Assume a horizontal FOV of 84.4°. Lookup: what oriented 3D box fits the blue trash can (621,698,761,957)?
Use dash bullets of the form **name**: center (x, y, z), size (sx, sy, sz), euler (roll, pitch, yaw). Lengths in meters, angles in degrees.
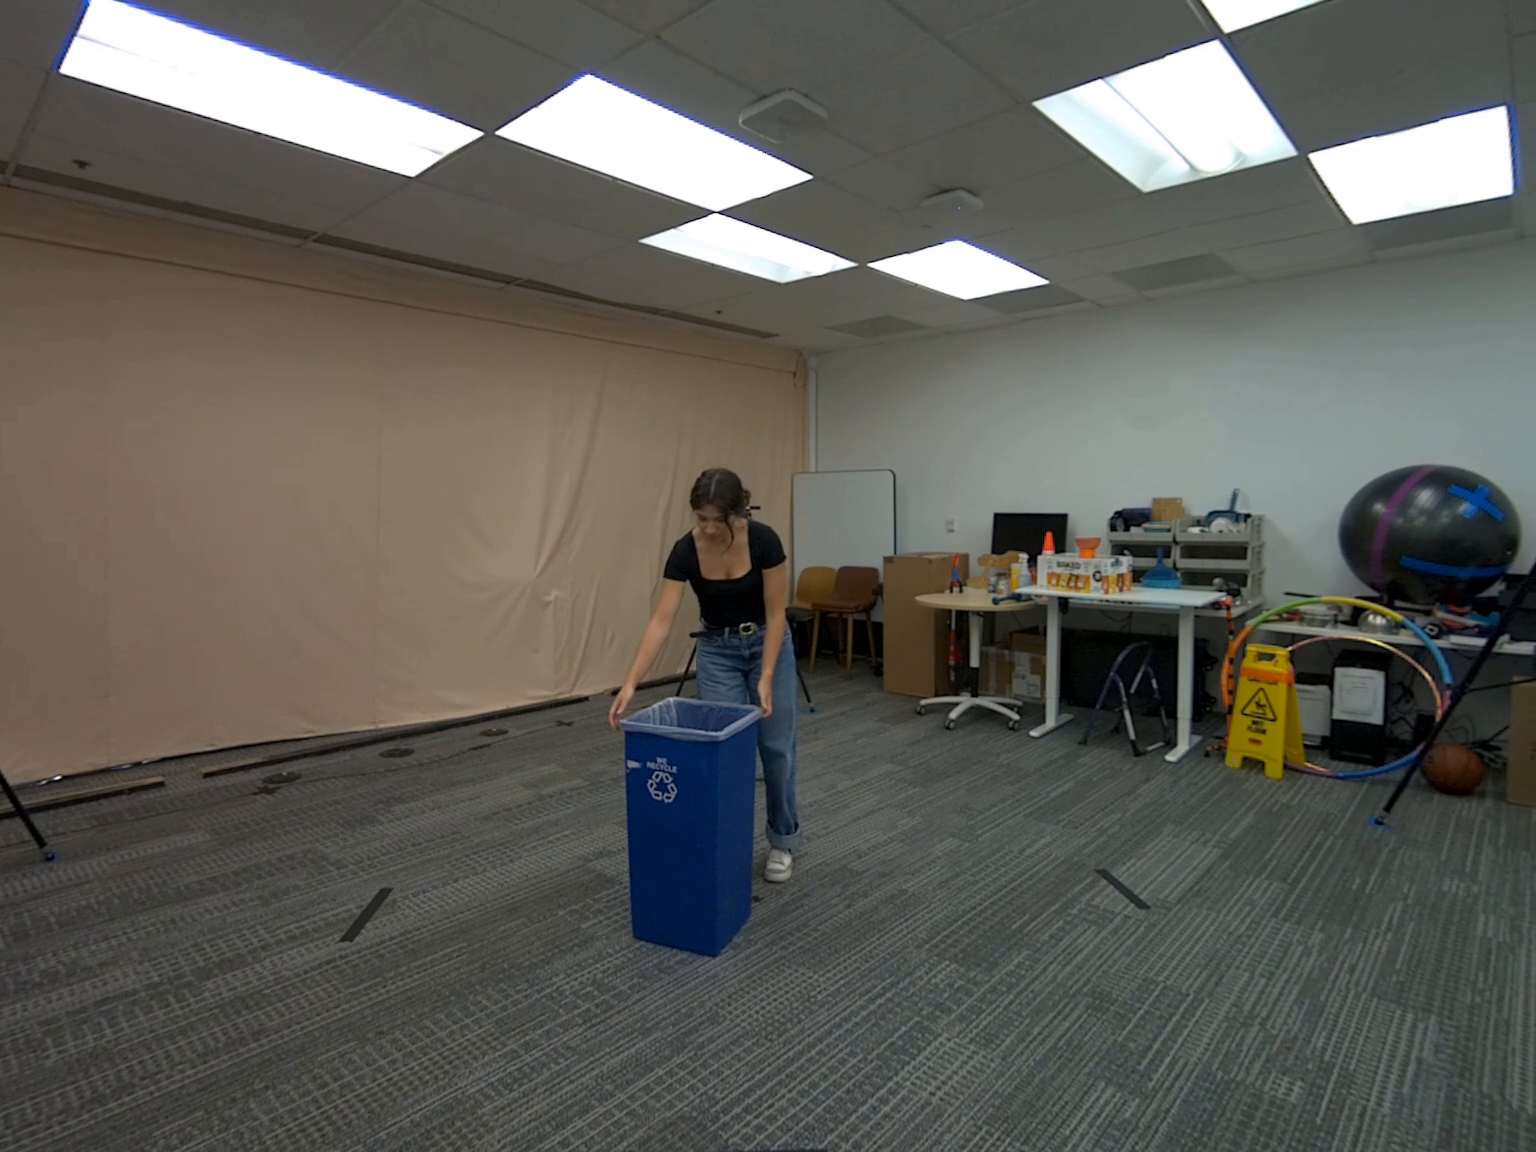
- **blue trash can**: center (-0.241, 0.805, 2.769), size (0.383, 0.712, 0.370), euler (1, 3, 23)
